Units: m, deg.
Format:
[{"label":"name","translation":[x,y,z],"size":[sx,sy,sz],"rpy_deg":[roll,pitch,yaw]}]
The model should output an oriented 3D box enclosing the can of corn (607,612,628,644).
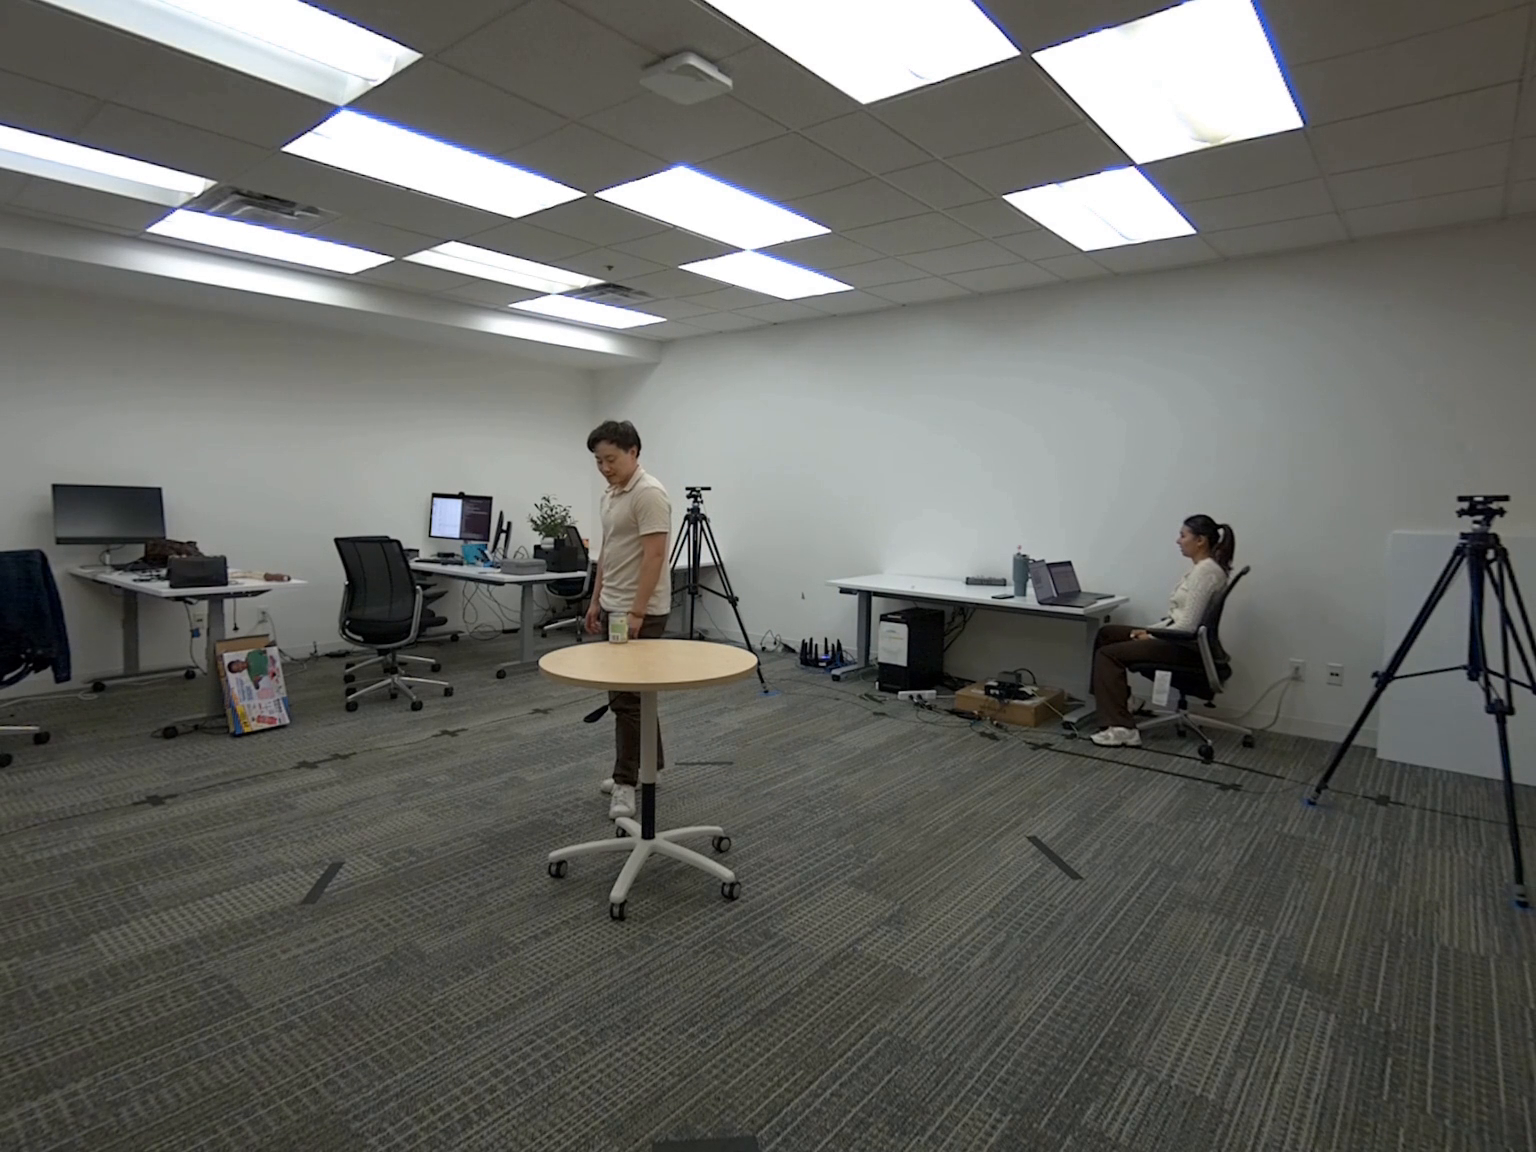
[{"label":"can of corn","translation":[-0.601,0.202,3.312],"size":[0.074,0.111,0.074],"rpy_deg":[-3,1,-2]}]
